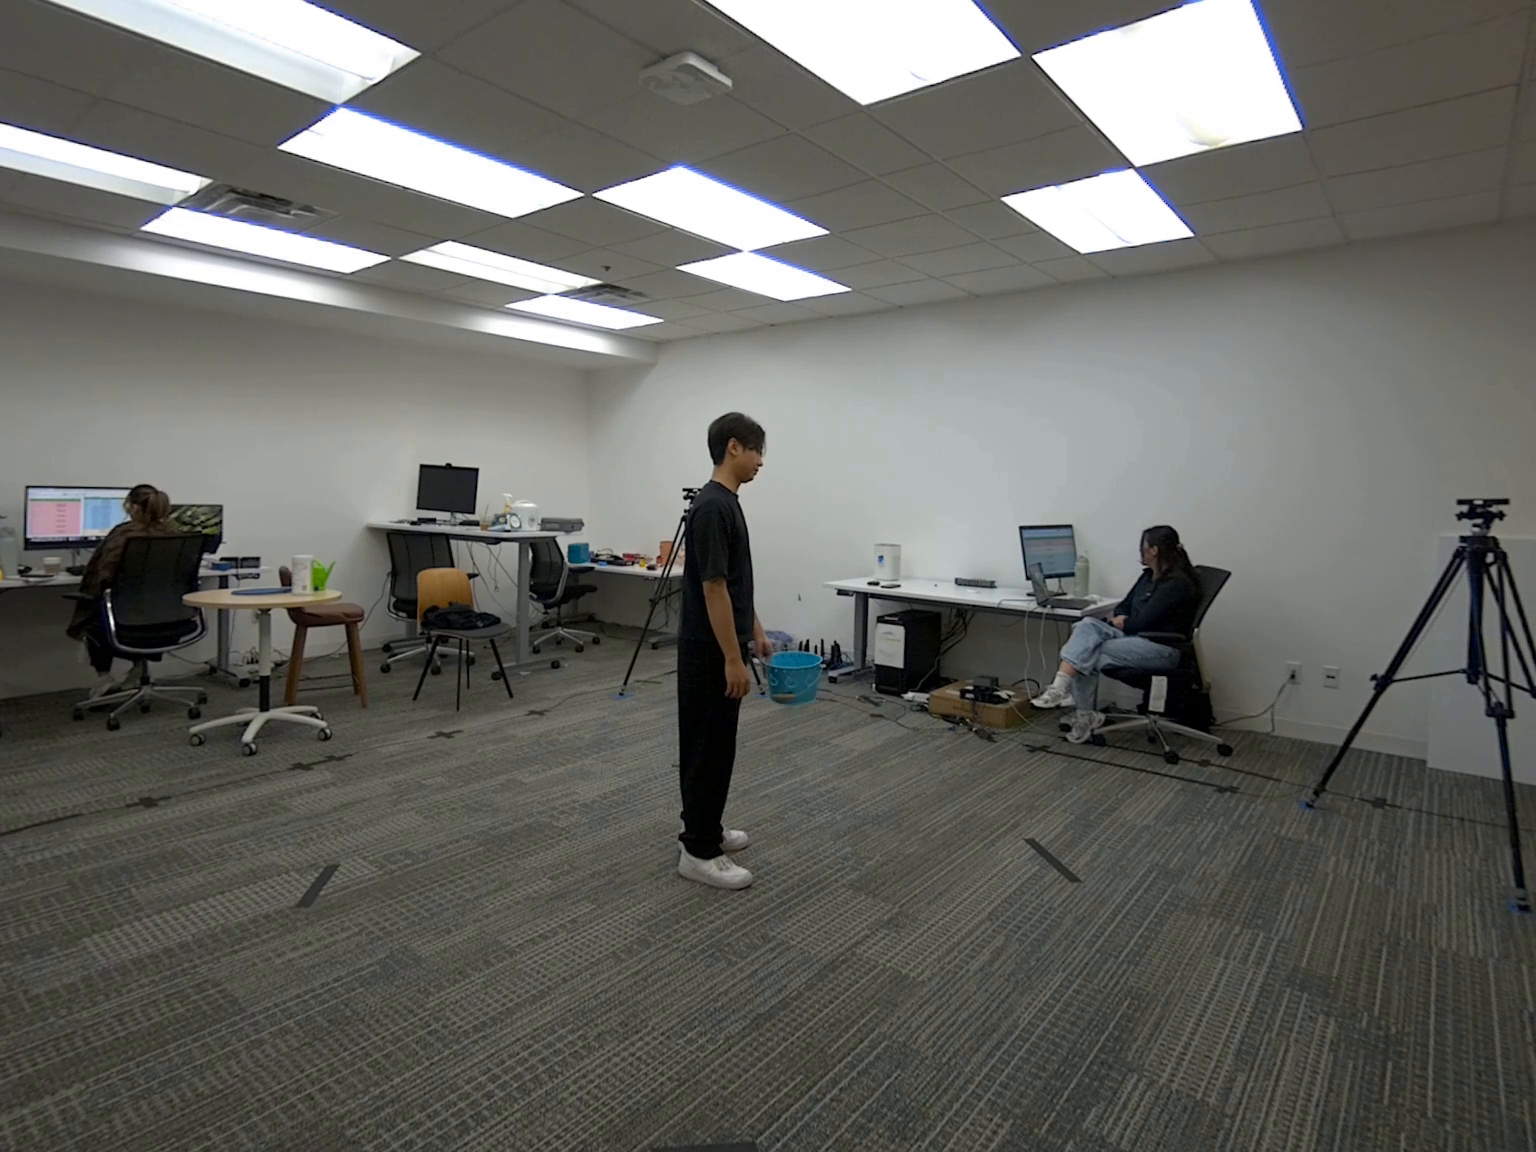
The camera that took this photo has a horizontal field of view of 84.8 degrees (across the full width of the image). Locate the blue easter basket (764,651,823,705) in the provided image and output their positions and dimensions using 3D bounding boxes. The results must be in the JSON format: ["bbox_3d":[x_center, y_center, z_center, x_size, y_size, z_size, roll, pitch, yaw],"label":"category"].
[{"bbox_3d":[0.078,0.391,3.287,0.243,0.155,0.245,-2,7,-2],"label":"blue easter basket"}]
